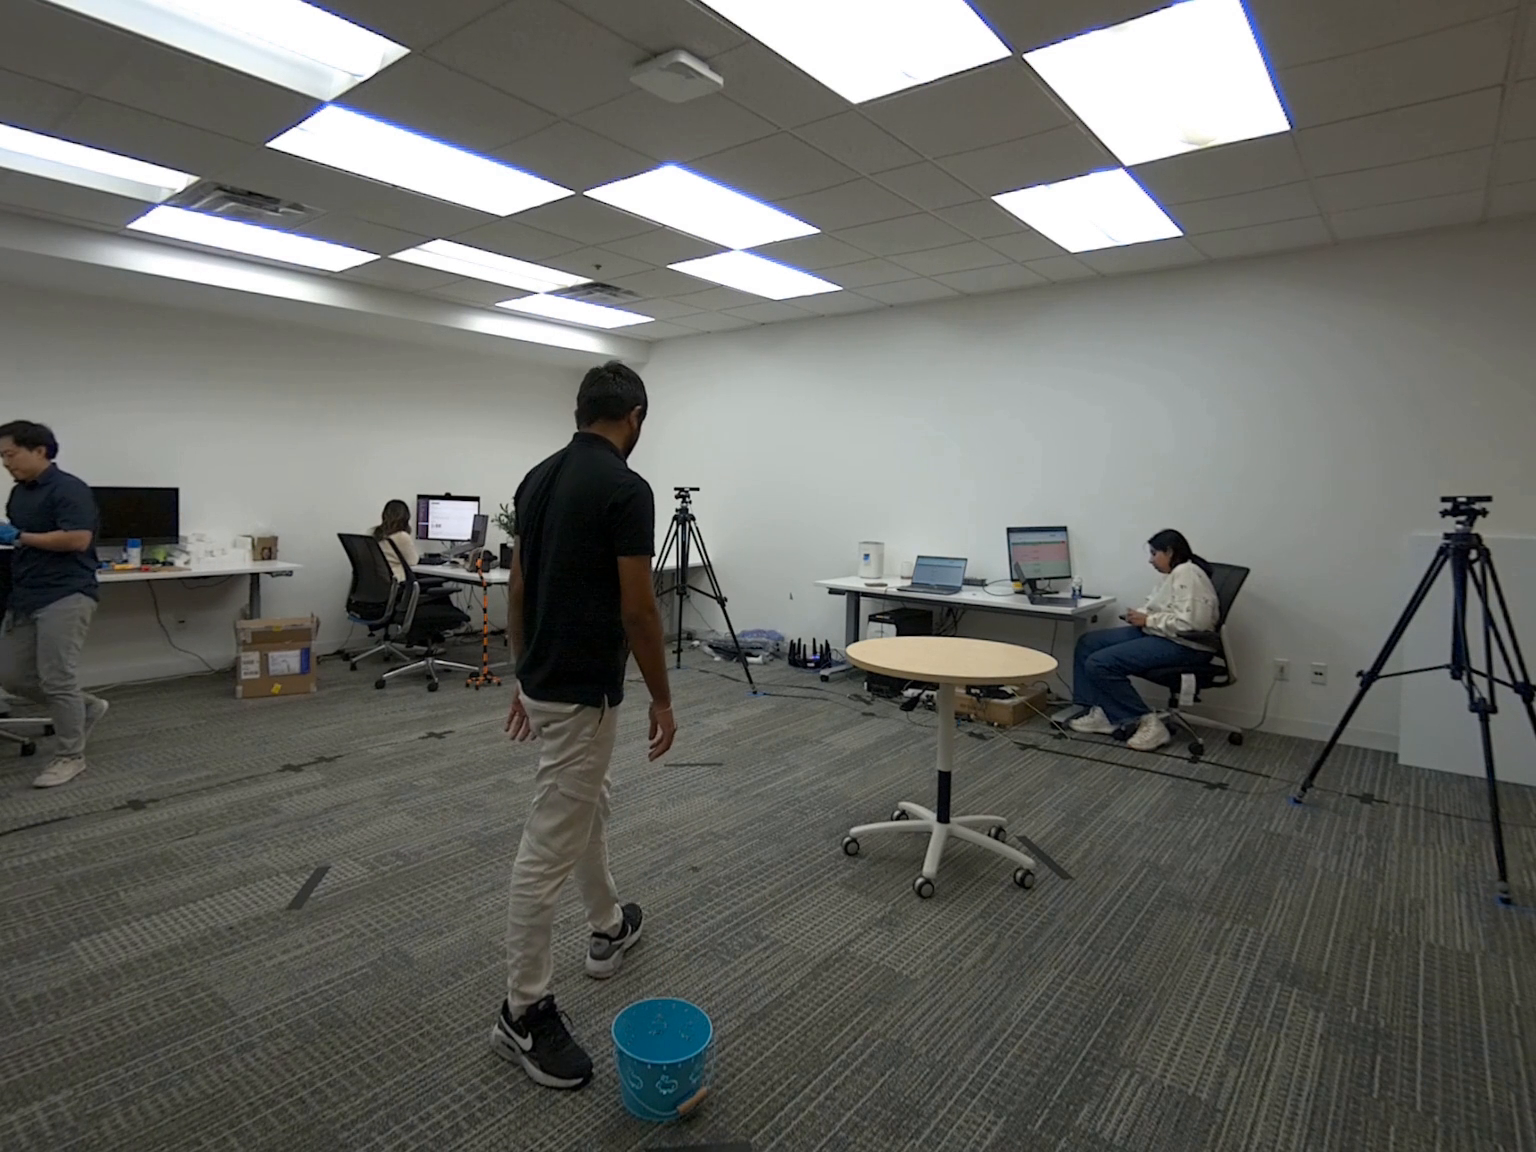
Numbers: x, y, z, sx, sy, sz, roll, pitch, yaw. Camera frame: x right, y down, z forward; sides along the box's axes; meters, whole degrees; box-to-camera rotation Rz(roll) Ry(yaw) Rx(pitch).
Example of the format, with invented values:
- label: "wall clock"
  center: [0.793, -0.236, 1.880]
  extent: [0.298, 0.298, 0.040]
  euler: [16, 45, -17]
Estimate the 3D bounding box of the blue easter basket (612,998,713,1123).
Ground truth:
- label: "blue easter basket"
  center: [-0.250, 1.105, 1.948]
  extent: [0.243, 0.155, 0.245]
  euler: [1, 5, -2]
